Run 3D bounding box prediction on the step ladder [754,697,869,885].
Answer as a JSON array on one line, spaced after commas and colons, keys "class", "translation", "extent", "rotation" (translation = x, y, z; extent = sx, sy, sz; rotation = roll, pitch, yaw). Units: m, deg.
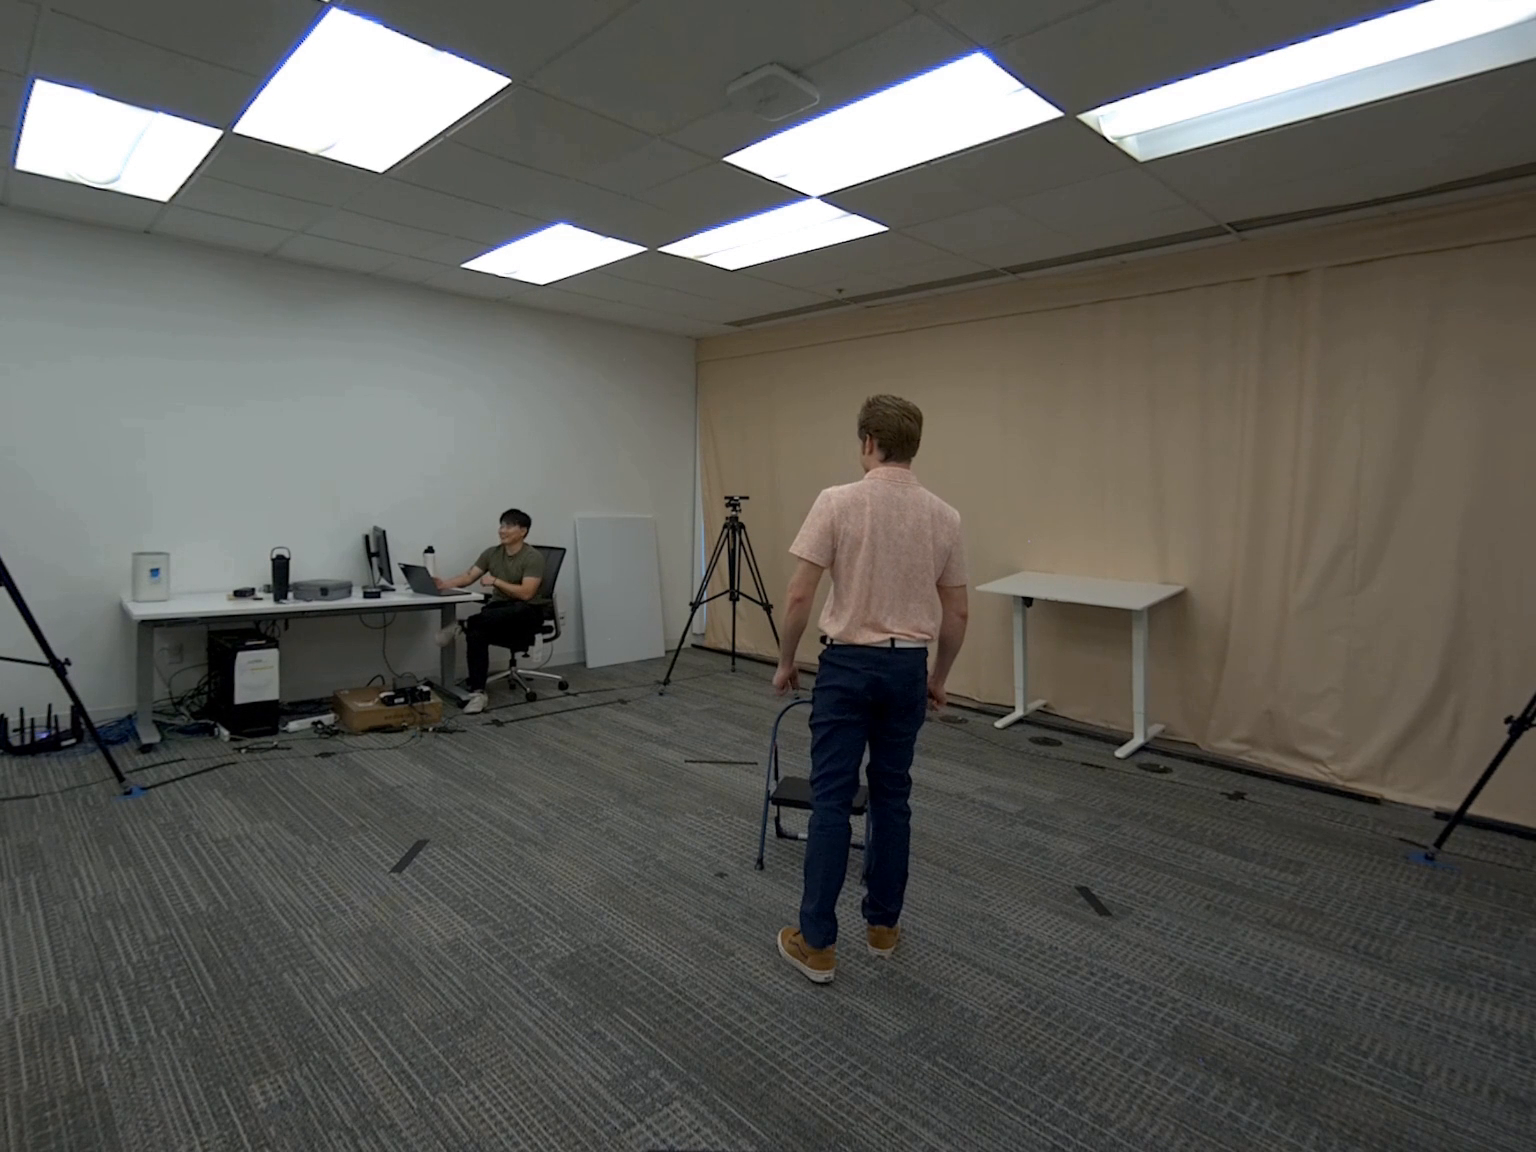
[{"class": "step ladder", "translation": [0.197, 0.797, 3.249], "extent": [0.436, 0.604, 0.346], "rotation": [2, 4, 15]}]
